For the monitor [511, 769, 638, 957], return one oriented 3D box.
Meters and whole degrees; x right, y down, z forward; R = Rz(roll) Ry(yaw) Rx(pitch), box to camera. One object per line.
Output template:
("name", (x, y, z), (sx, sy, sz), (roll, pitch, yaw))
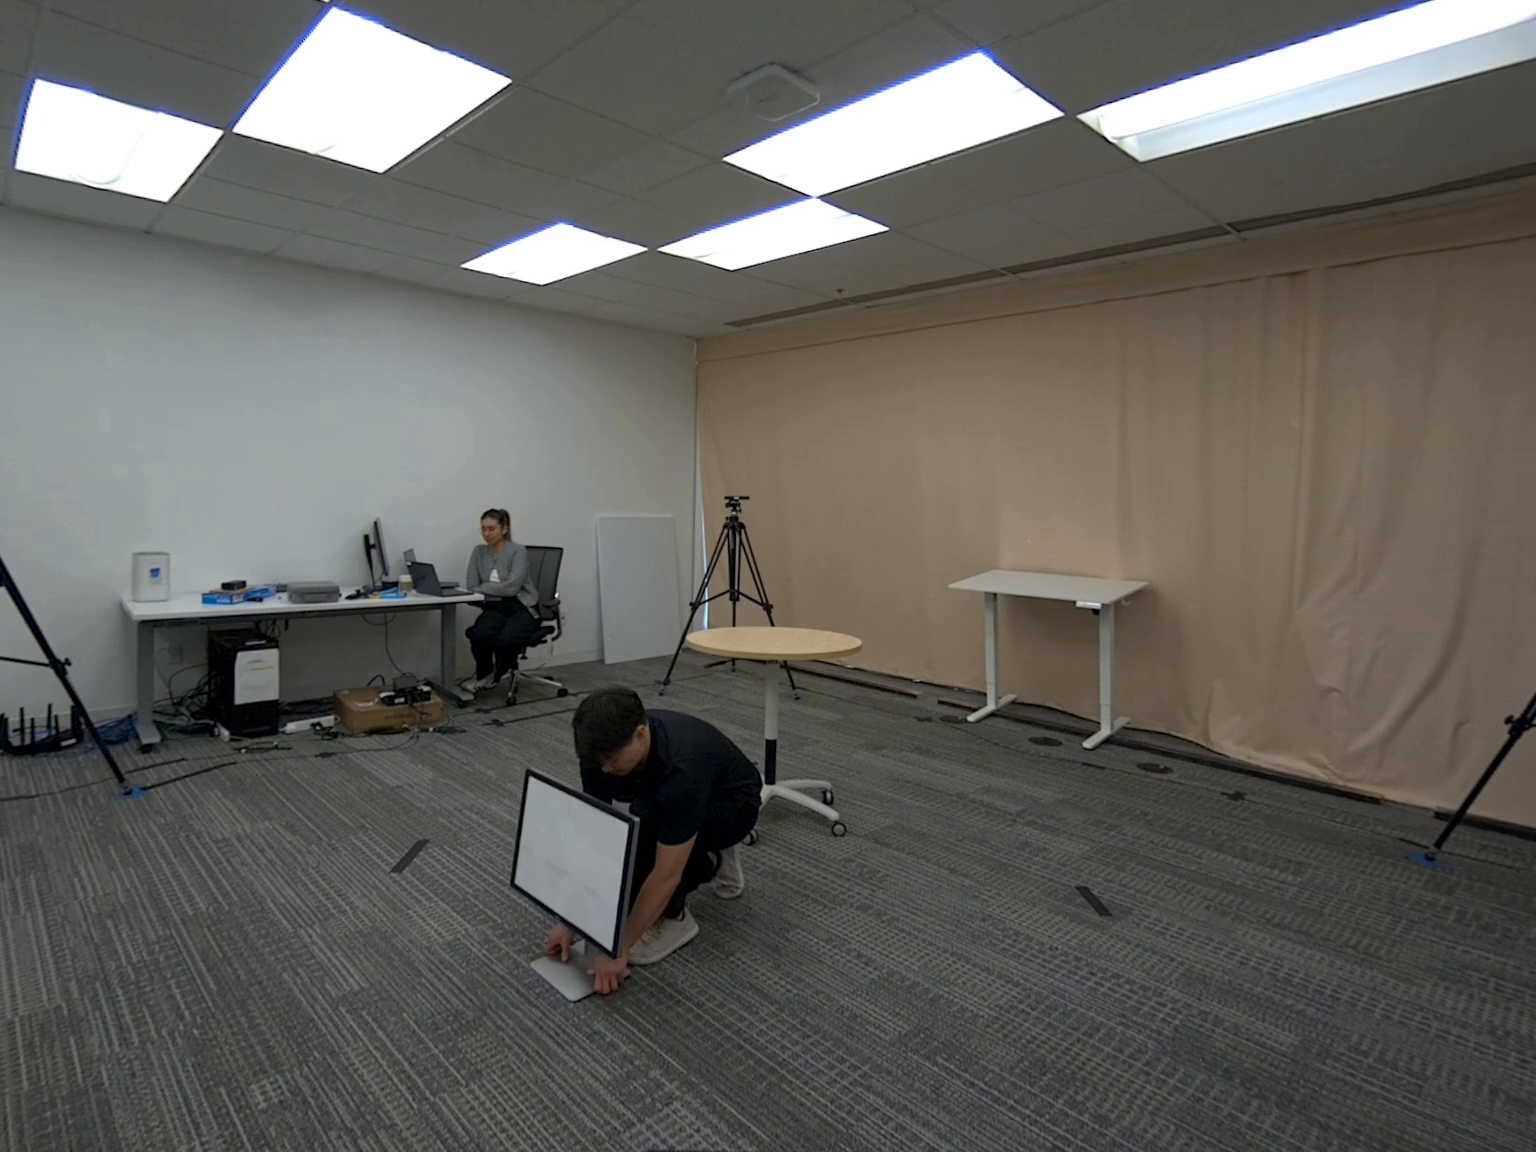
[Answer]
("monitor", (-0.560, 0.888, 2.425), (0.183, 0.520, 0.553), (-8, 9, -43))
